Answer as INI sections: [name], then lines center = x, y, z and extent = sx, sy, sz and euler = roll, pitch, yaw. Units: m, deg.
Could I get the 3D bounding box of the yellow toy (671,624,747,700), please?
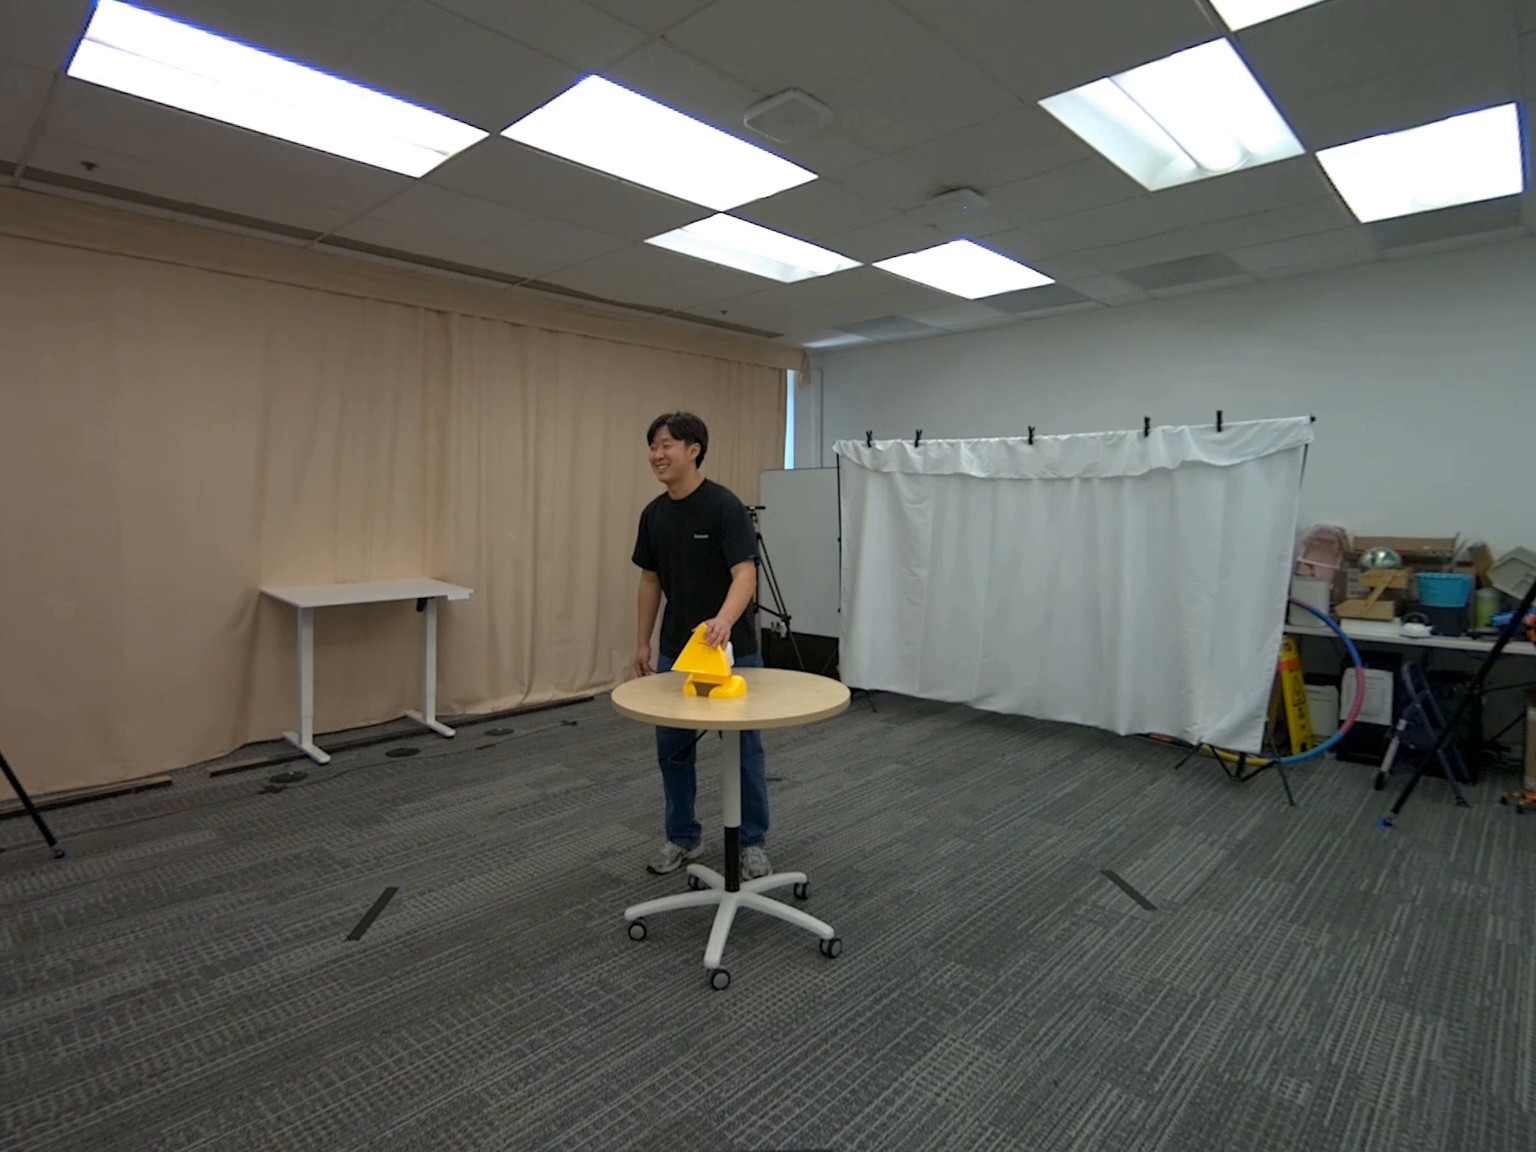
[yellow toy]
center = -0.175, 0.259, 2.697
extent = 0.210, 0.230, 0.188
euler = 2, 4, 29
